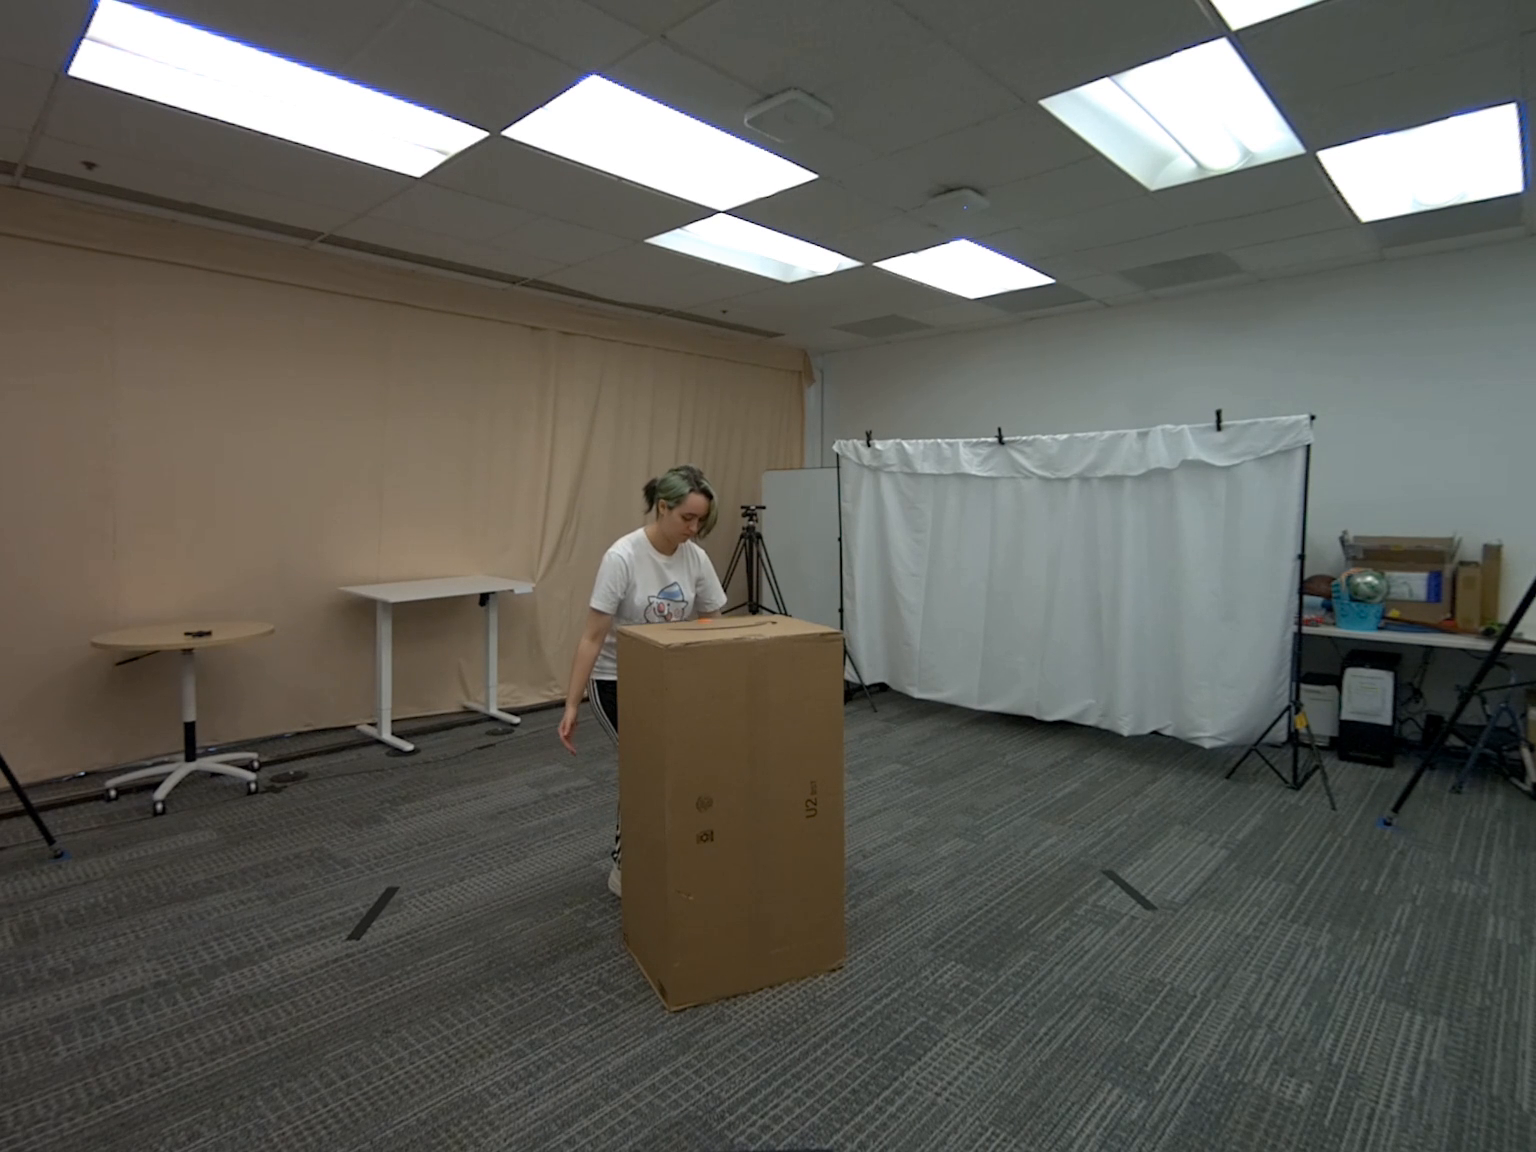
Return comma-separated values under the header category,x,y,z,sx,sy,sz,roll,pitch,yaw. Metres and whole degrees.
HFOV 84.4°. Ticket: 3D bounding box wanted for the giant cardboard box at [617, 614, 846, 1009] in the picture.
category,x,y,z,sx,sy,sz,roll,pitch,yaw
giant cardboard box,-0.116,0.668,2.587,0.564,1.023,0.437,-2,4,-26
